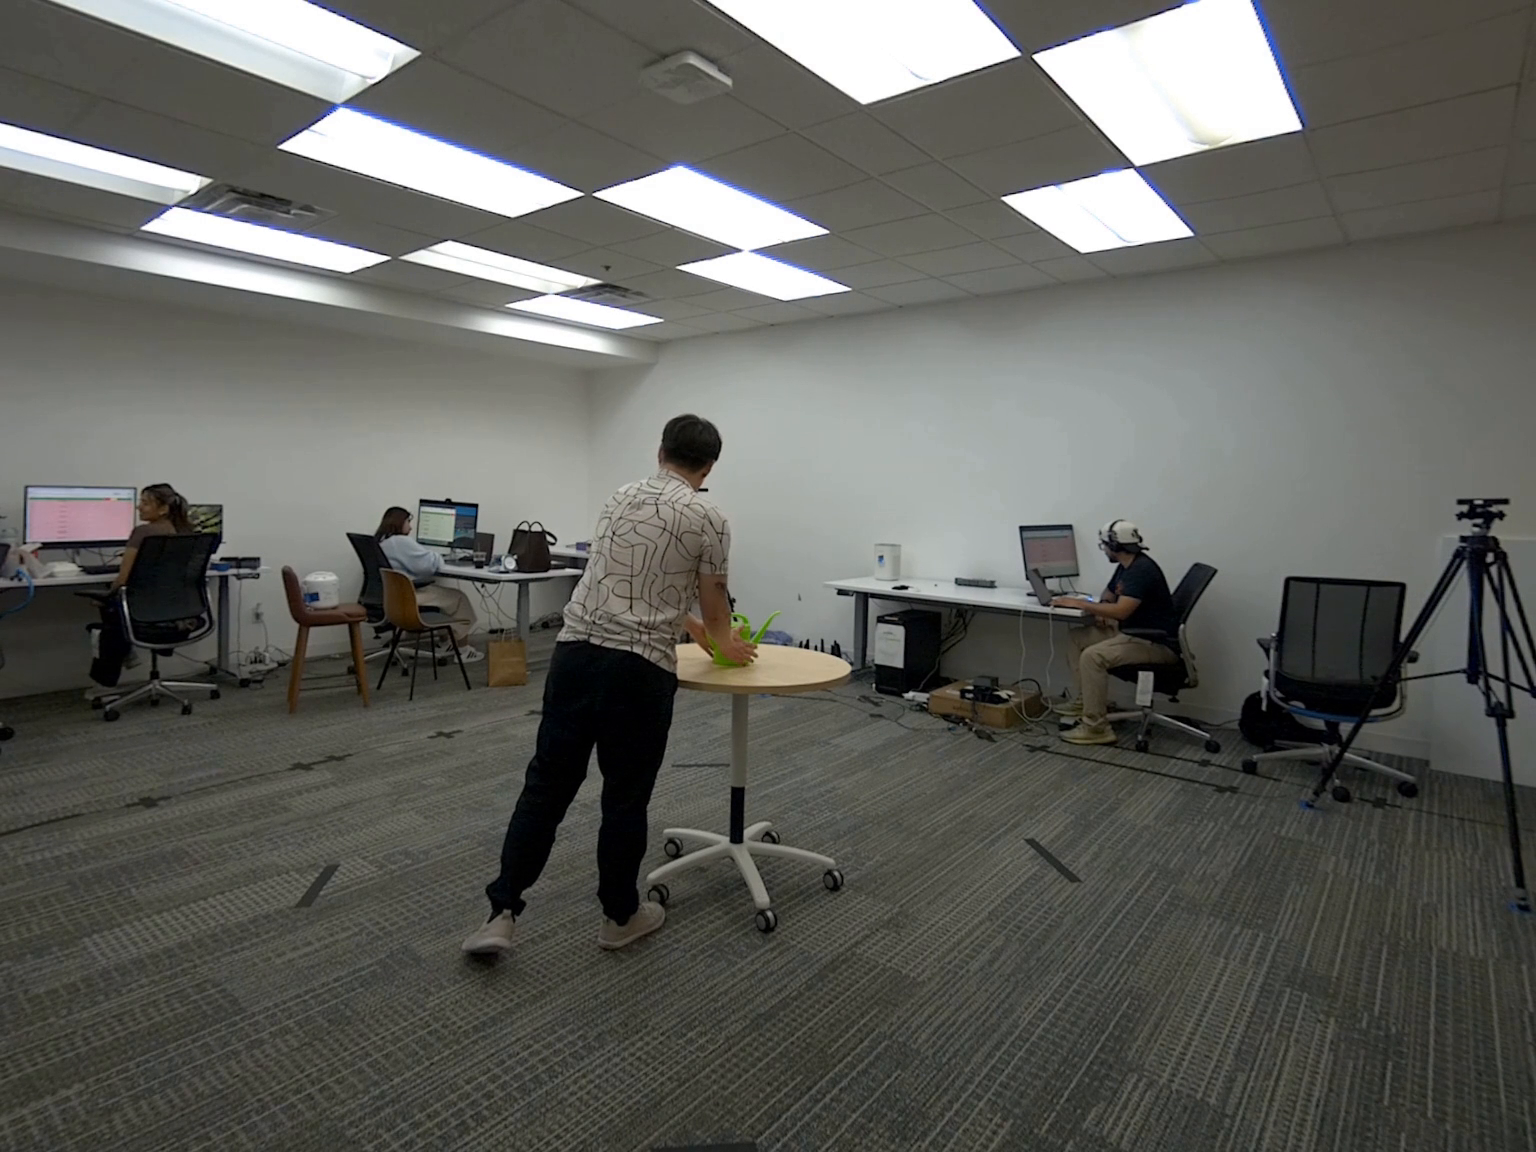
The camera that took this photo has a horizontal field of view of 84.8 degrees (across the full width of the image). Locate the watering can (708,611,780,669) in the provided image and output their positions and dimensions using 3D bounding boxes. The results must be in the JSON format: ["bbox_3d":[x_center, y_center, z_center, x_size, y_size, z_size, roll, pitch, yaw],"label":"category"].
[{"bbox_3d":[-0.093,0.217,2.969,0.276,0.175,0.099,1,8,-7],"label":"watering can"}]
